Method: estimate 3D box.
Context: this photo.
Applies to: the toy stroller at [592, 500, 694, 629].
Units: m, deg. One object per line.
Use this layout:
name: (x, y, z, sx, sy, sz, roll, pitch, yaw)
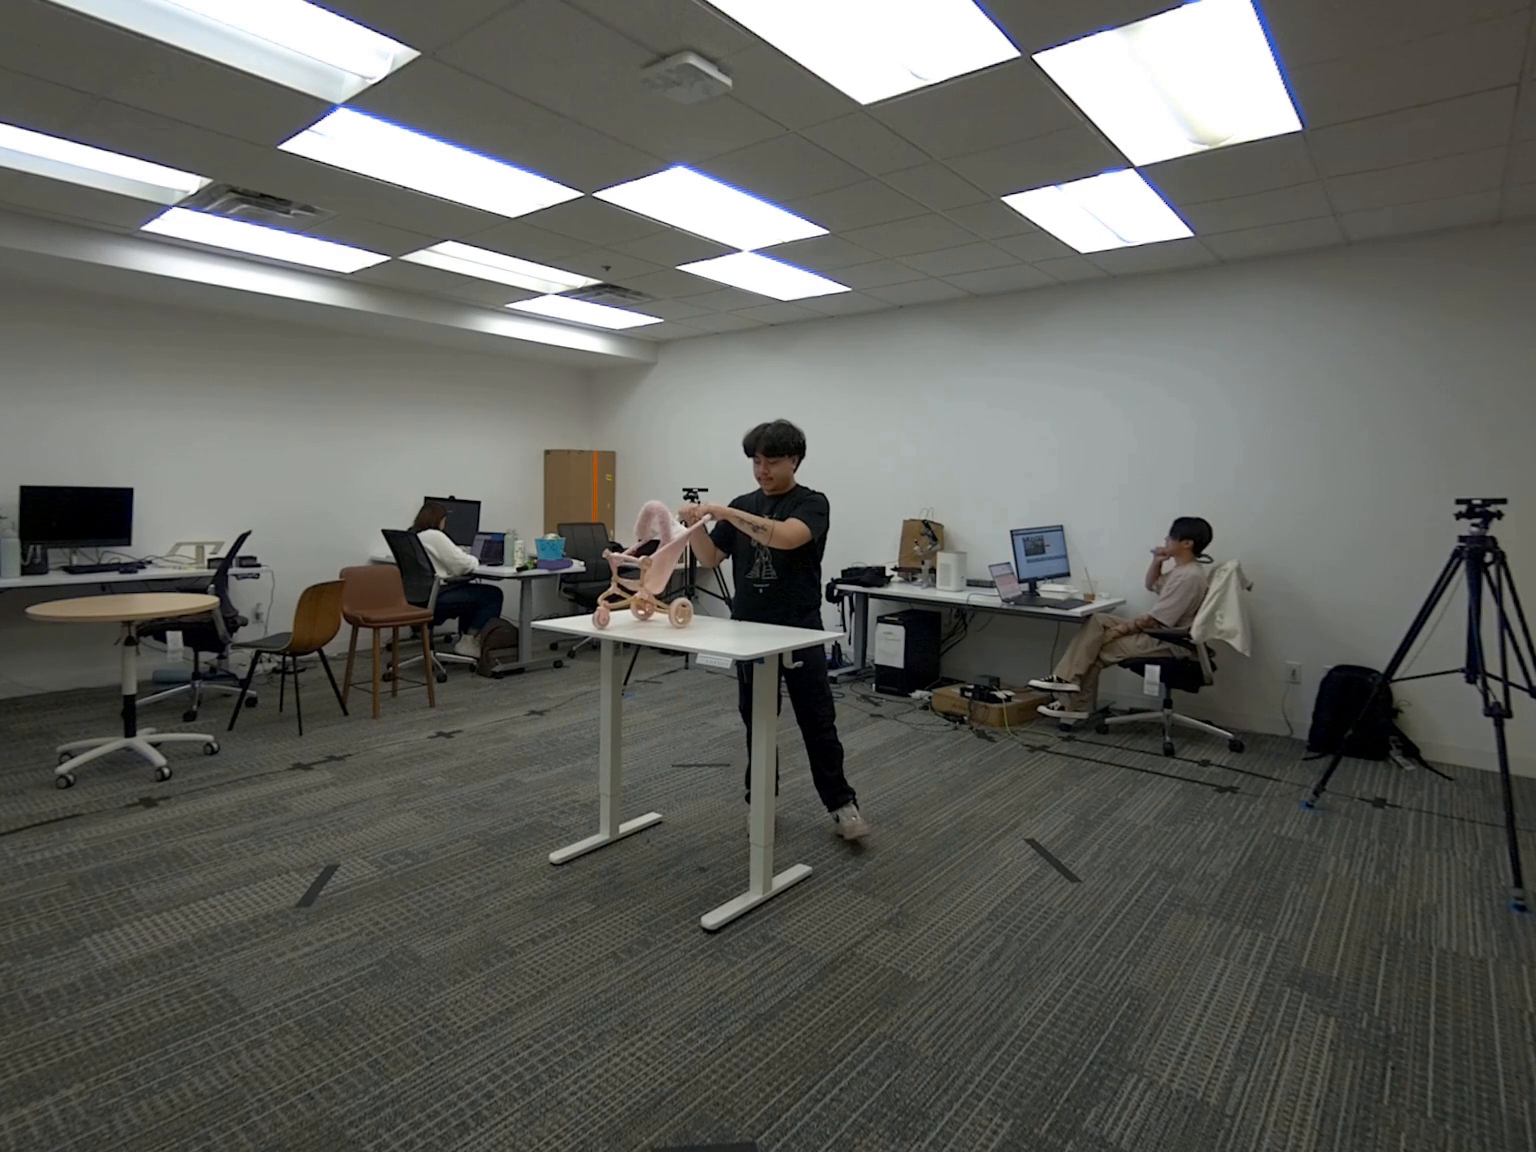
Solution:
toy stroller: (-0.454, -0.042, 3.139, 0.329, 0.537, 0.290, 18, -7, -35)
